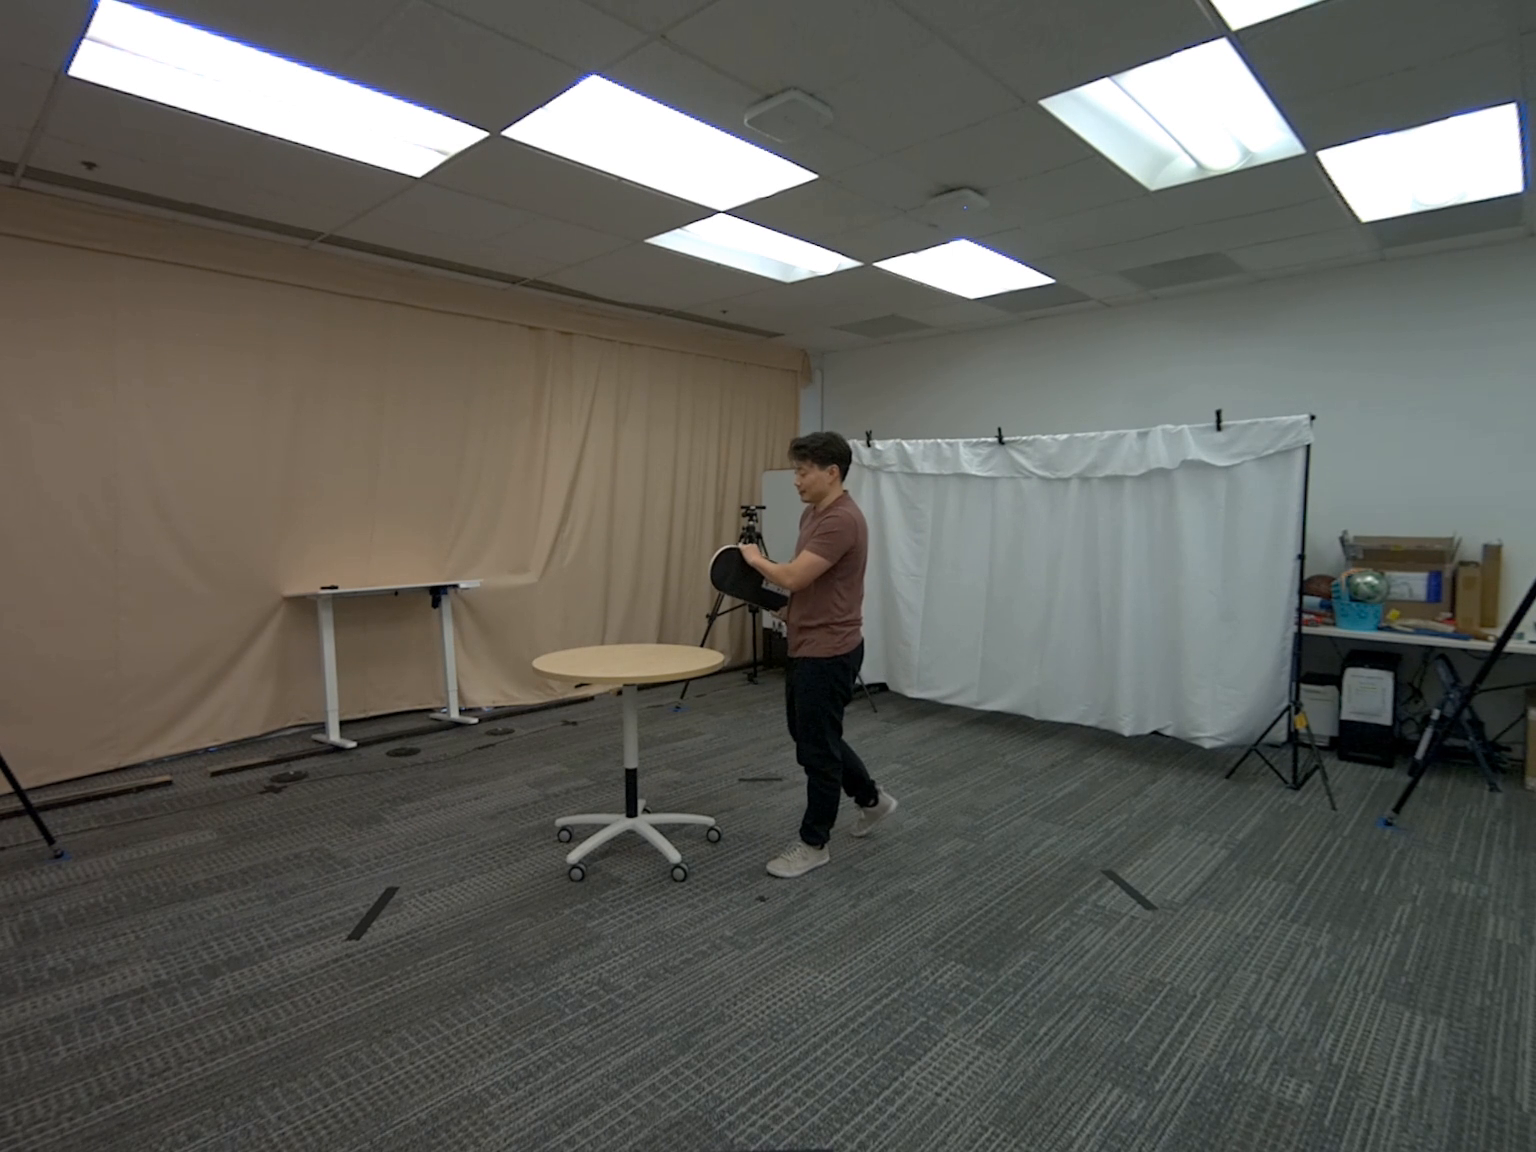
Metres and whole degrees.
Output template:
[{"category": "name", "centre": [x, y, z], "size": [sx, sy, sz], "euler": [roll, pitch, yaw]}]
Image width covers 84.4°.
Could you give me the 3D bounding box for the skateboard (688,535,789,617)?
[{"category": "skateboard", "centre": [0.031, 0.049, 3.472], "size": [0.758, 0.193, 0.114], "euler": [21, -5, -39]}]
